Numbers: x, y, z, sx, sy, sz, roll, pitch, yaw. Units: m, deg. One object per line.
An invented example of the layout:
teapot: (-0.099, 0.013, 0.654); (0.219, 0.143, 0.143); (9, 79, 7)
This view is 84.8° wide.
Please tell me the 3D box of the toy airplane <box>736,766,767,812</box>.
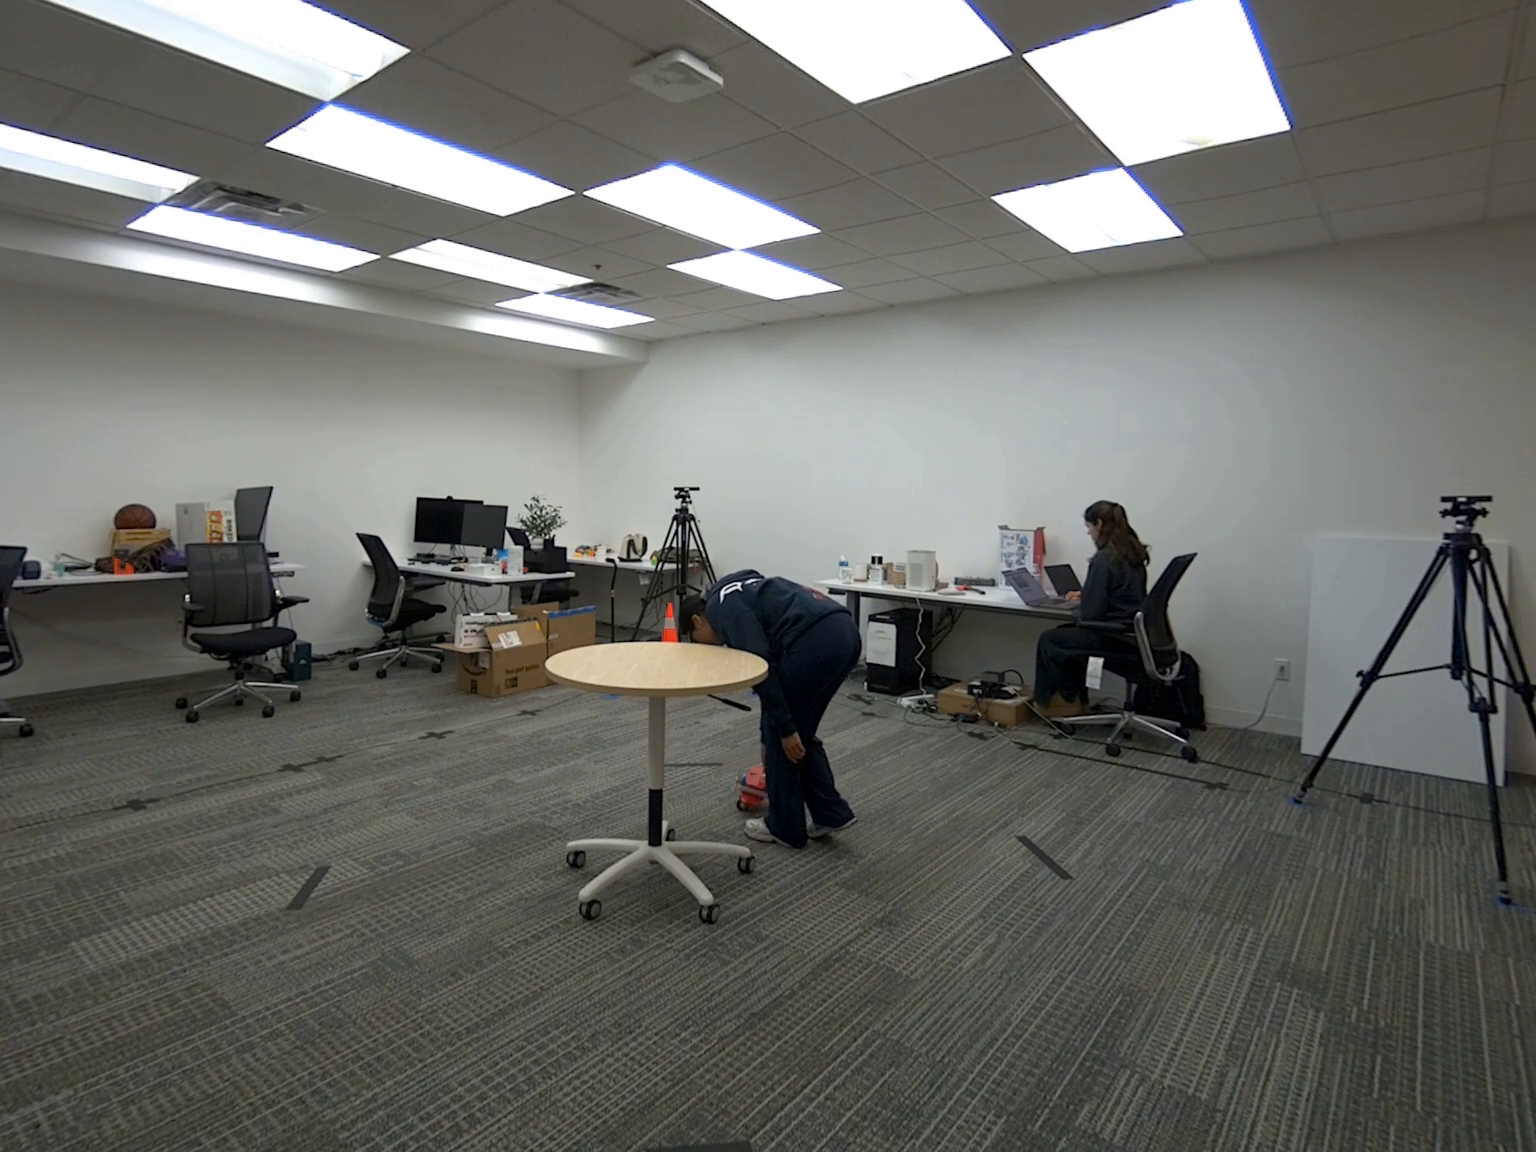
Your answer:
toy airplane: (-0.029, 0.933, 3.725); (0.254, 0.156, 0.257); (-2, 5, -21)
